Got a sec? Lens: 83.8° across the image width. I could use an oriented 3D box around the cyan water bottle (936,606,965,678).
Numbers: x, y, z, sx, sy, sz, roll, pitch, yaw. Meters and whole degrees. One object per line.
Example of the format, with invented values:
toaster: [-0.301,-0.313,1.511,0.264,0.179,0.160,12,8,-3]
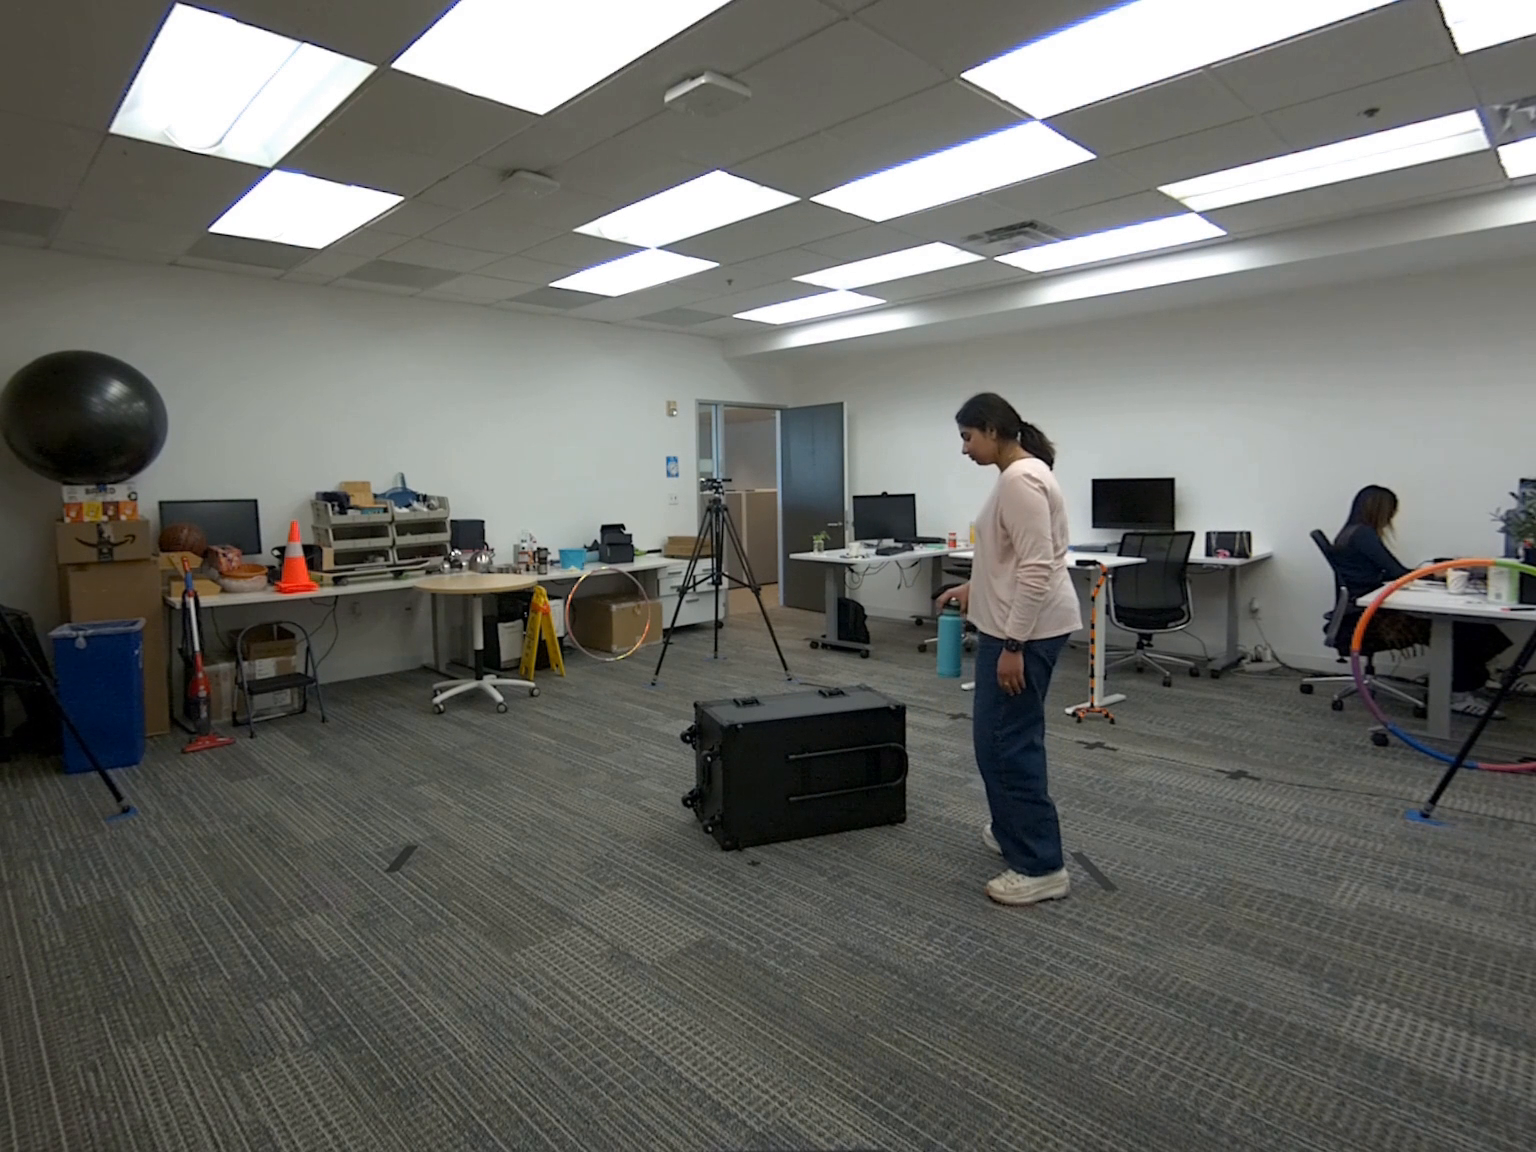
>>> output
cyan water bottle: [0.692,0.233,3.185,0.092,0.283,0.092,-1,3,-2]
